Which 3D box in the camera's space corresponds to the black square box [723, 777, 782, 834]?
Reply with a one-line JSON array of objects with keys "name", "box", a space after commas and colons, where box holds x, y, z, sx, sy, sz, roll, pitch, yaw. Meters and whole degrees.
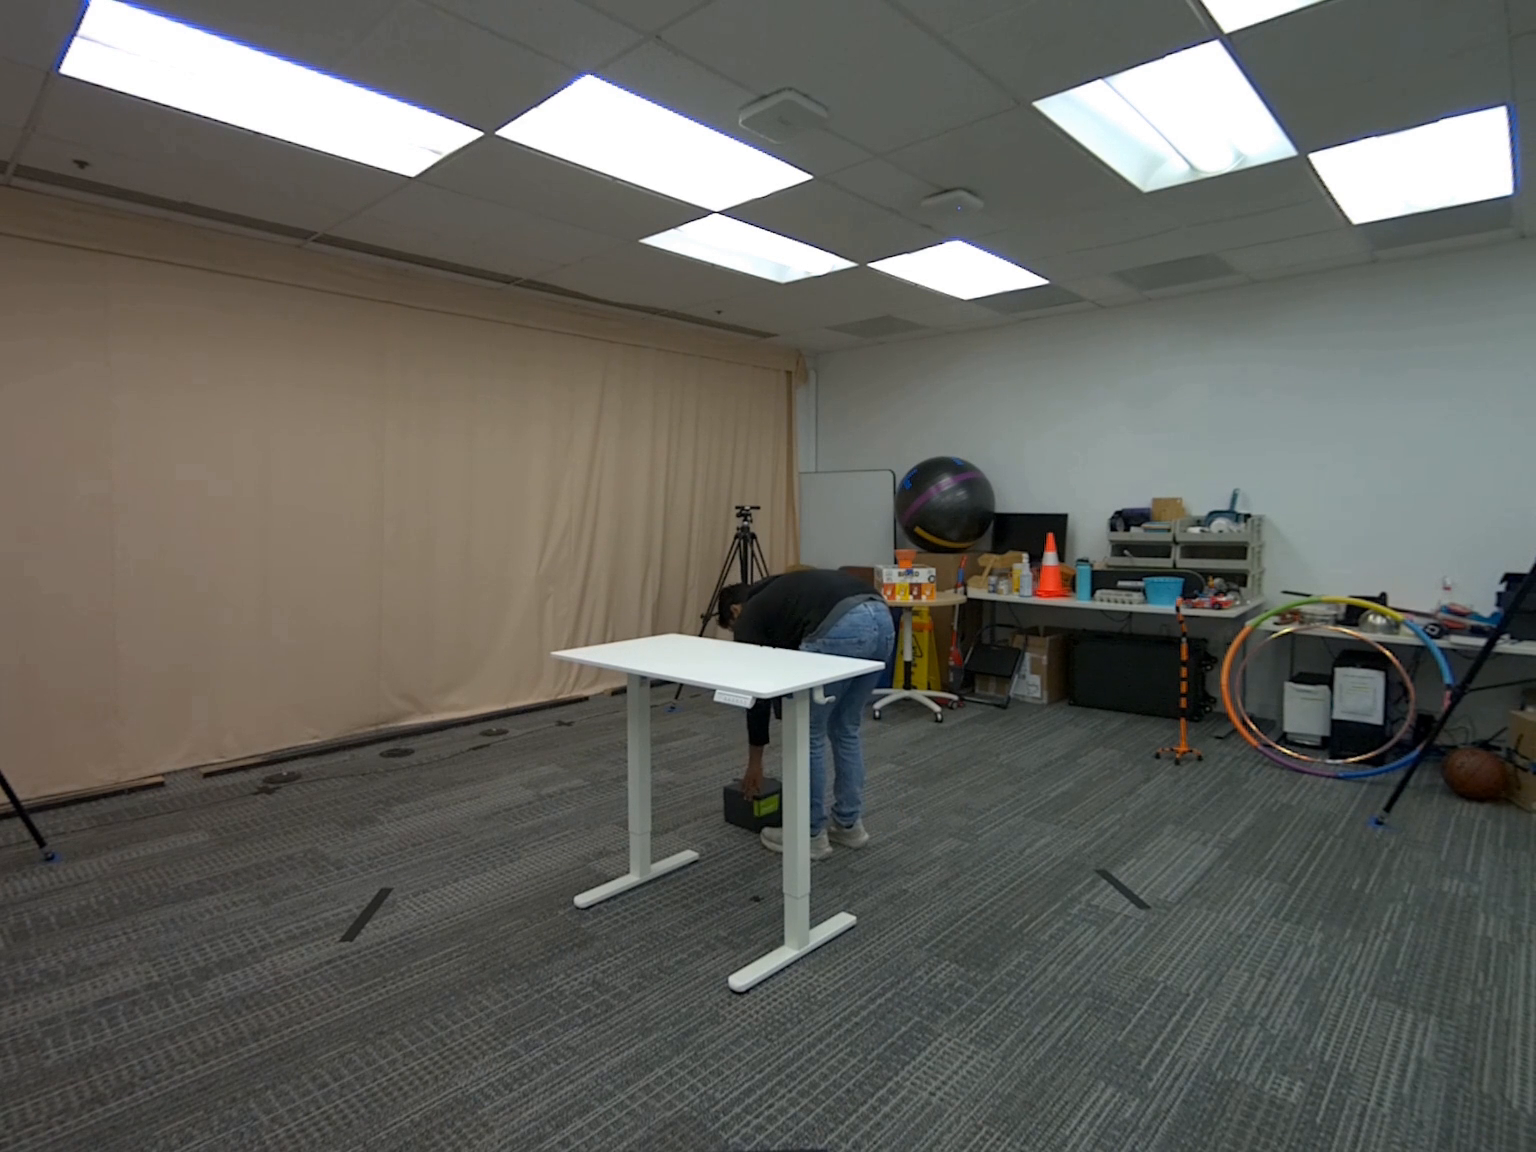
[{"name": "black square box", "box": [-0.038, 0.990, 3.709, 0.224, 0.156, 0.221, 2, 4, 44]}]
